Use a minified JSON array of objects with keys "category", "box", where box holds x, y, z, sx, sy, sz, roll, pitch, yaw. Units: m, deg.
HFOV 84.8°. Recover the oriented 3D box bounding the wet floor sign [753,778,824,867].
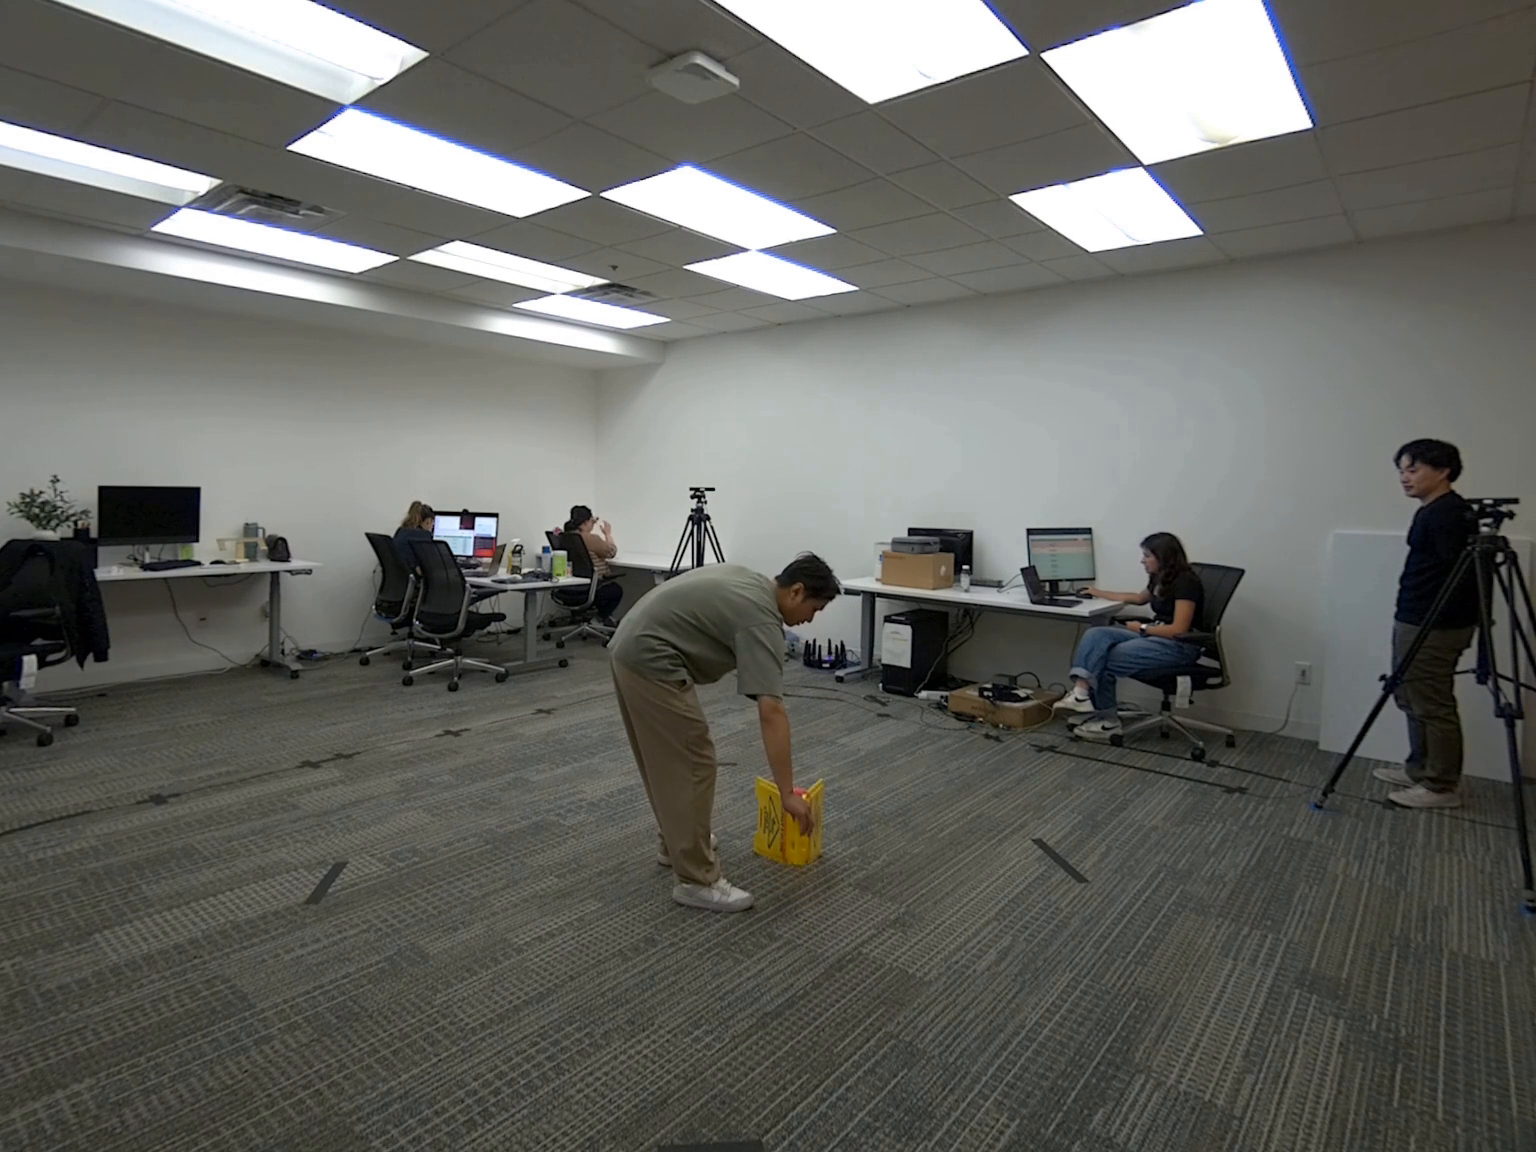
[{"category":"wet floor sign","box":[0.078,0.867,2.988,0.290,0.286,0.638,1,-12,-1]}]
